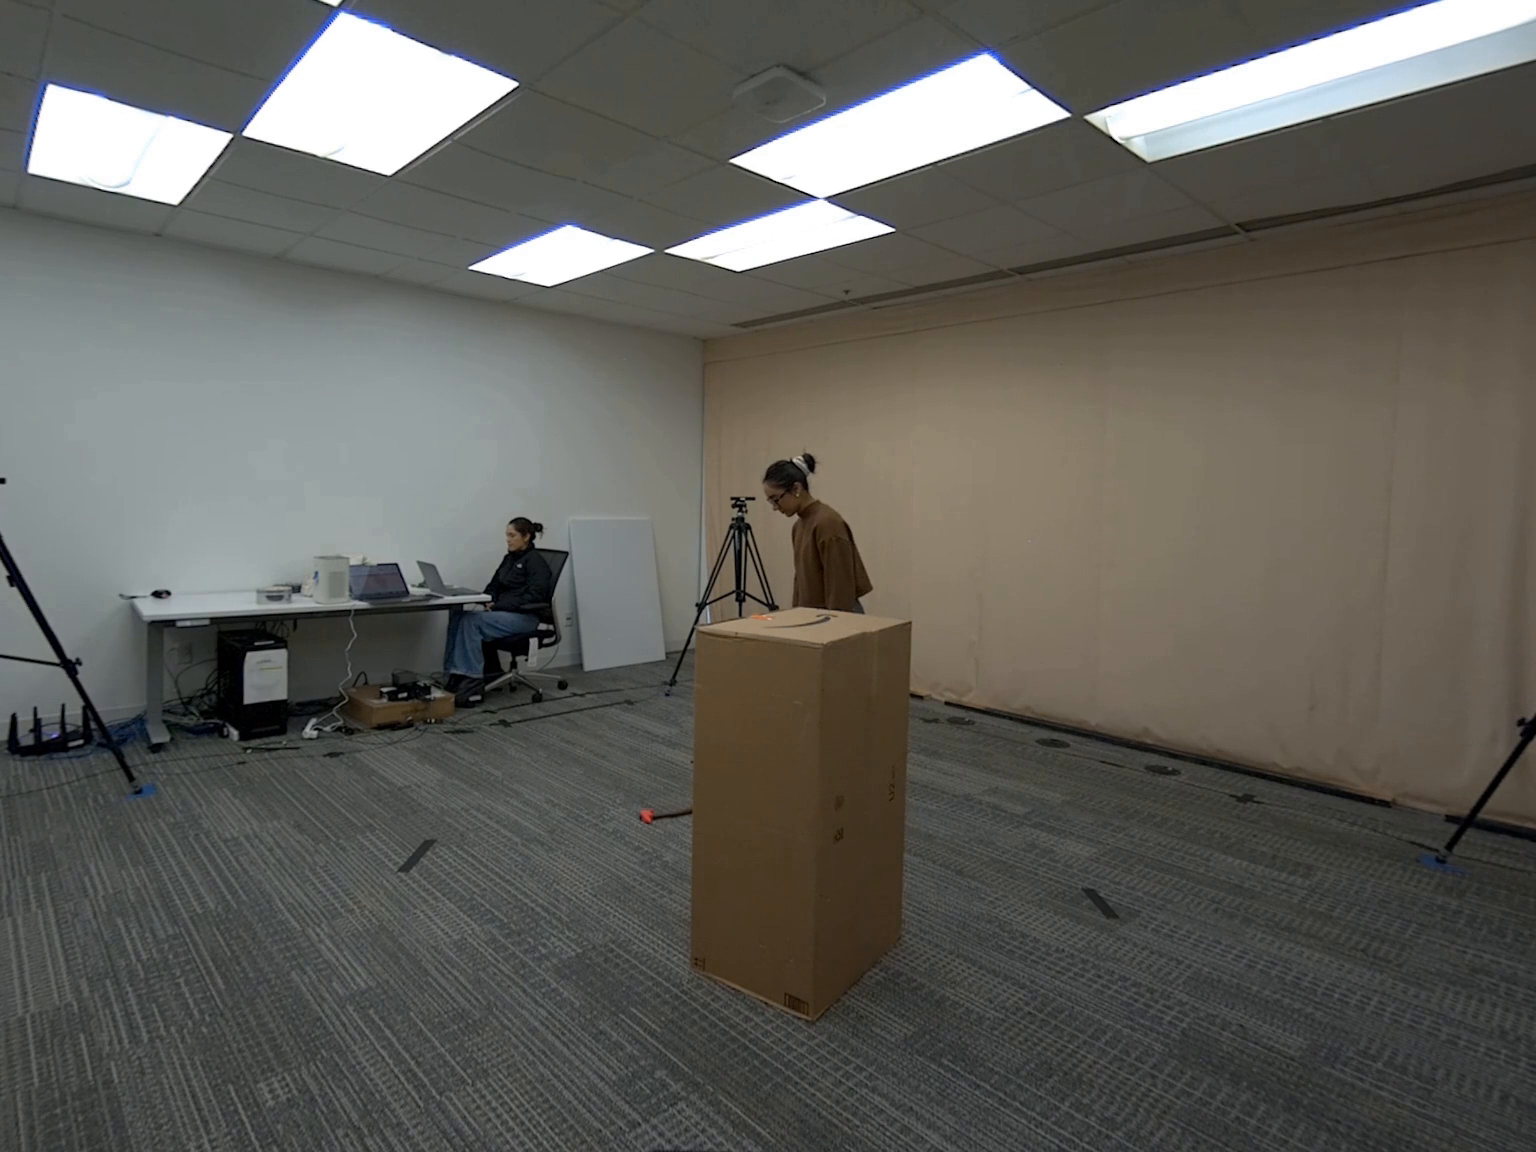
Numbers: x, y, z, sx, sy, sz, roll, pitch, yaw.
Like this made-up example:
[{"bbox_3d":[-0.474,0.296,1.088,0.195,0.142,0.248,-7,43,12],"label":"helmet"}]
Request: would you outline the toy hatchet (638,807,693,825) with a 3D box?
[{"bbox_3d":[-0.462,1.038,3.699,0.264,0.029,0.134,-1,4,-42],"label":"toy hatchet"}]
